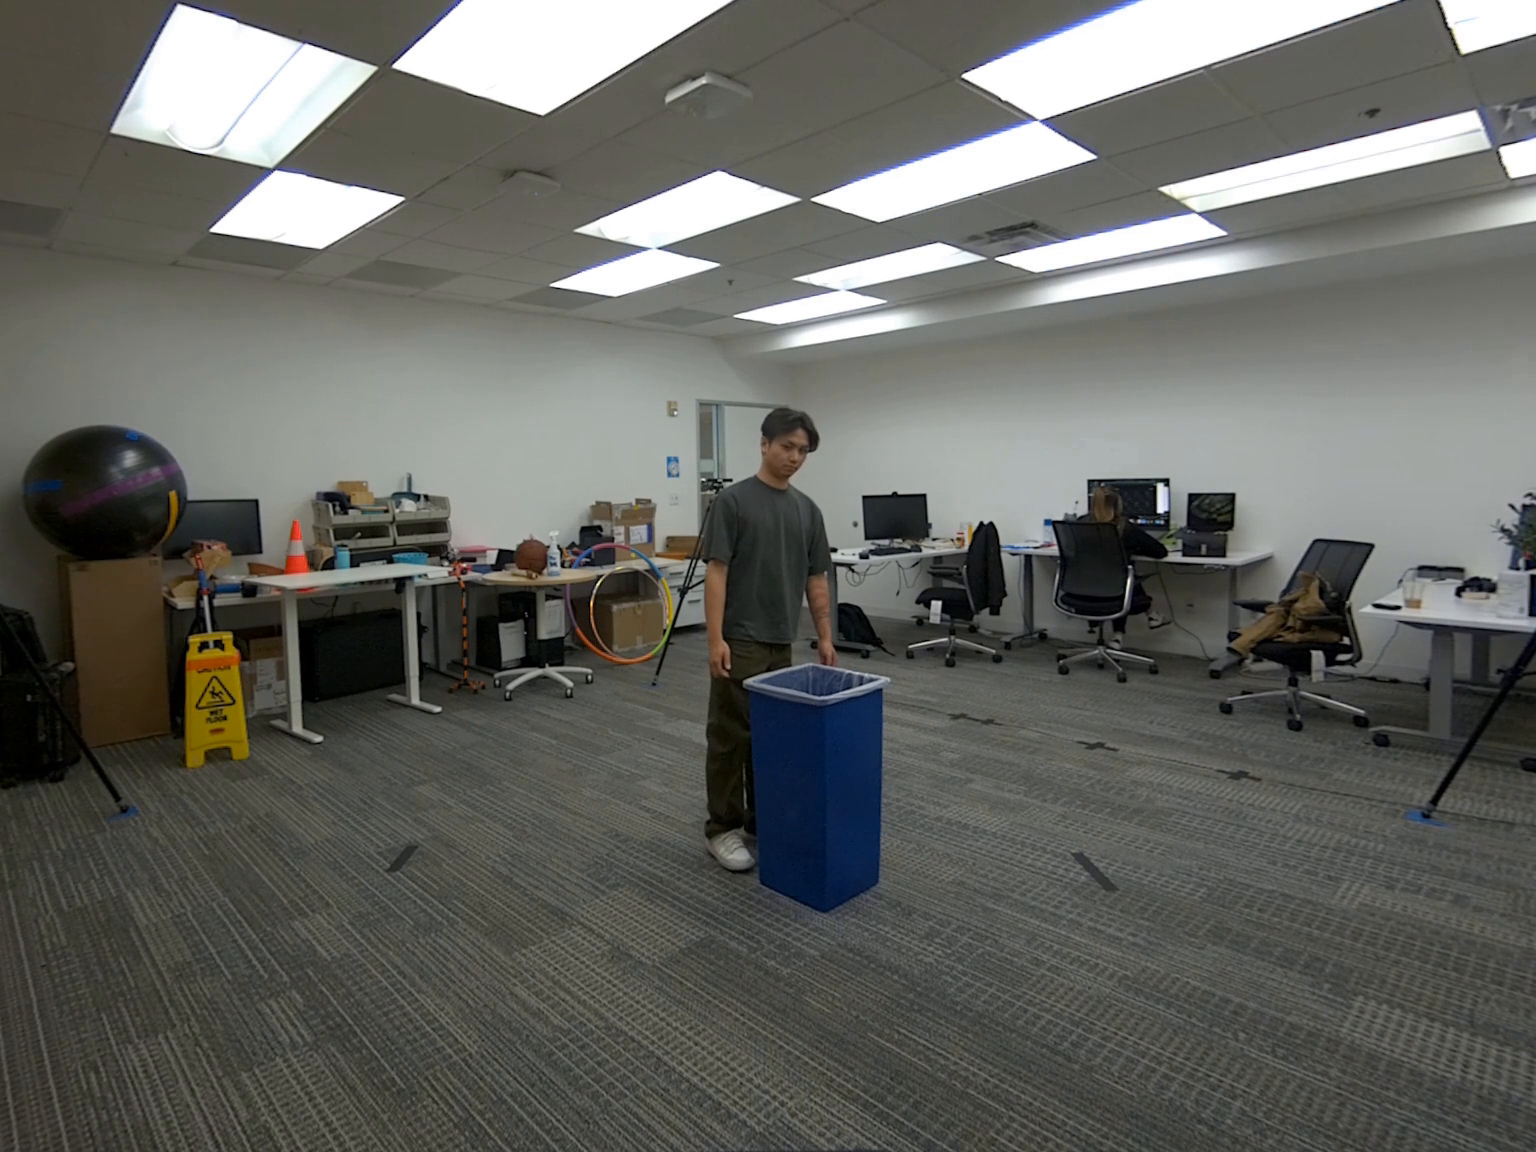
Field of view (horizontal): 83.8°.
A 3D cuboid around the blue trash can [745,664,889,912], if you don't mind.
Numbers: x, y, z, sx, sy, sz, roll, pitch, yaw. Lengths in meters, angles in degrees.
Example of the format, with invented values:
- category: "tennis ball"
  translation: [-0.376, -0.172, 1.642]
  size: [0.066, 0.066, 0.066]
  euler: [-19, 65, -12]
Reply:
- category: "blue trash can"
  translation: [0.182, 0.704, 2.921]
  size: [0.385, 0.711, 0.368]
  euler: [3, 6, 44]
